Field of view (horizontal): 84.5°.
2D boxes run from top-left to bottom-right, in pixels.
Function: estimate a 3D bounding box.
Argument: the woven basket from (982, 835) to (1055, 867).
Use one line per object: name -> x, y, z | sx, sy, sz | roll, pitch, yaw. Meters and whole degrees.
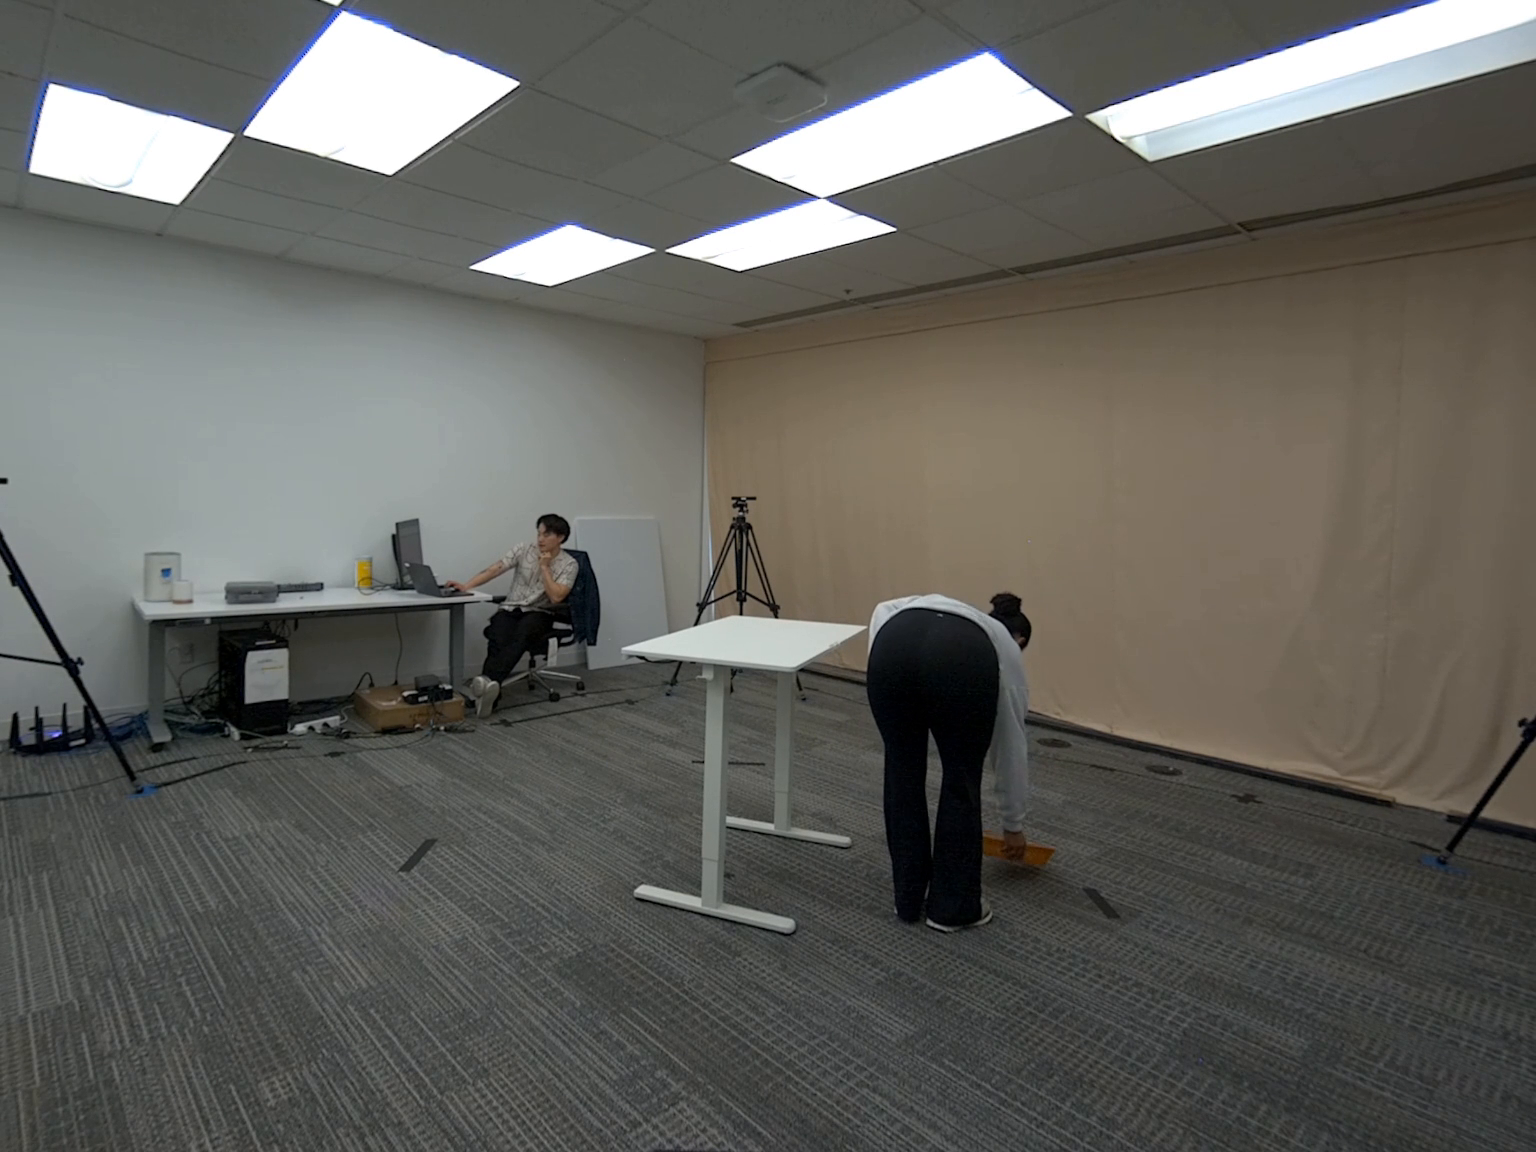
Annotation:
woven basket -> 0.929, 1.023, 3.166 | 0.341, 0.074, 0.257 | 18, -15, -32
